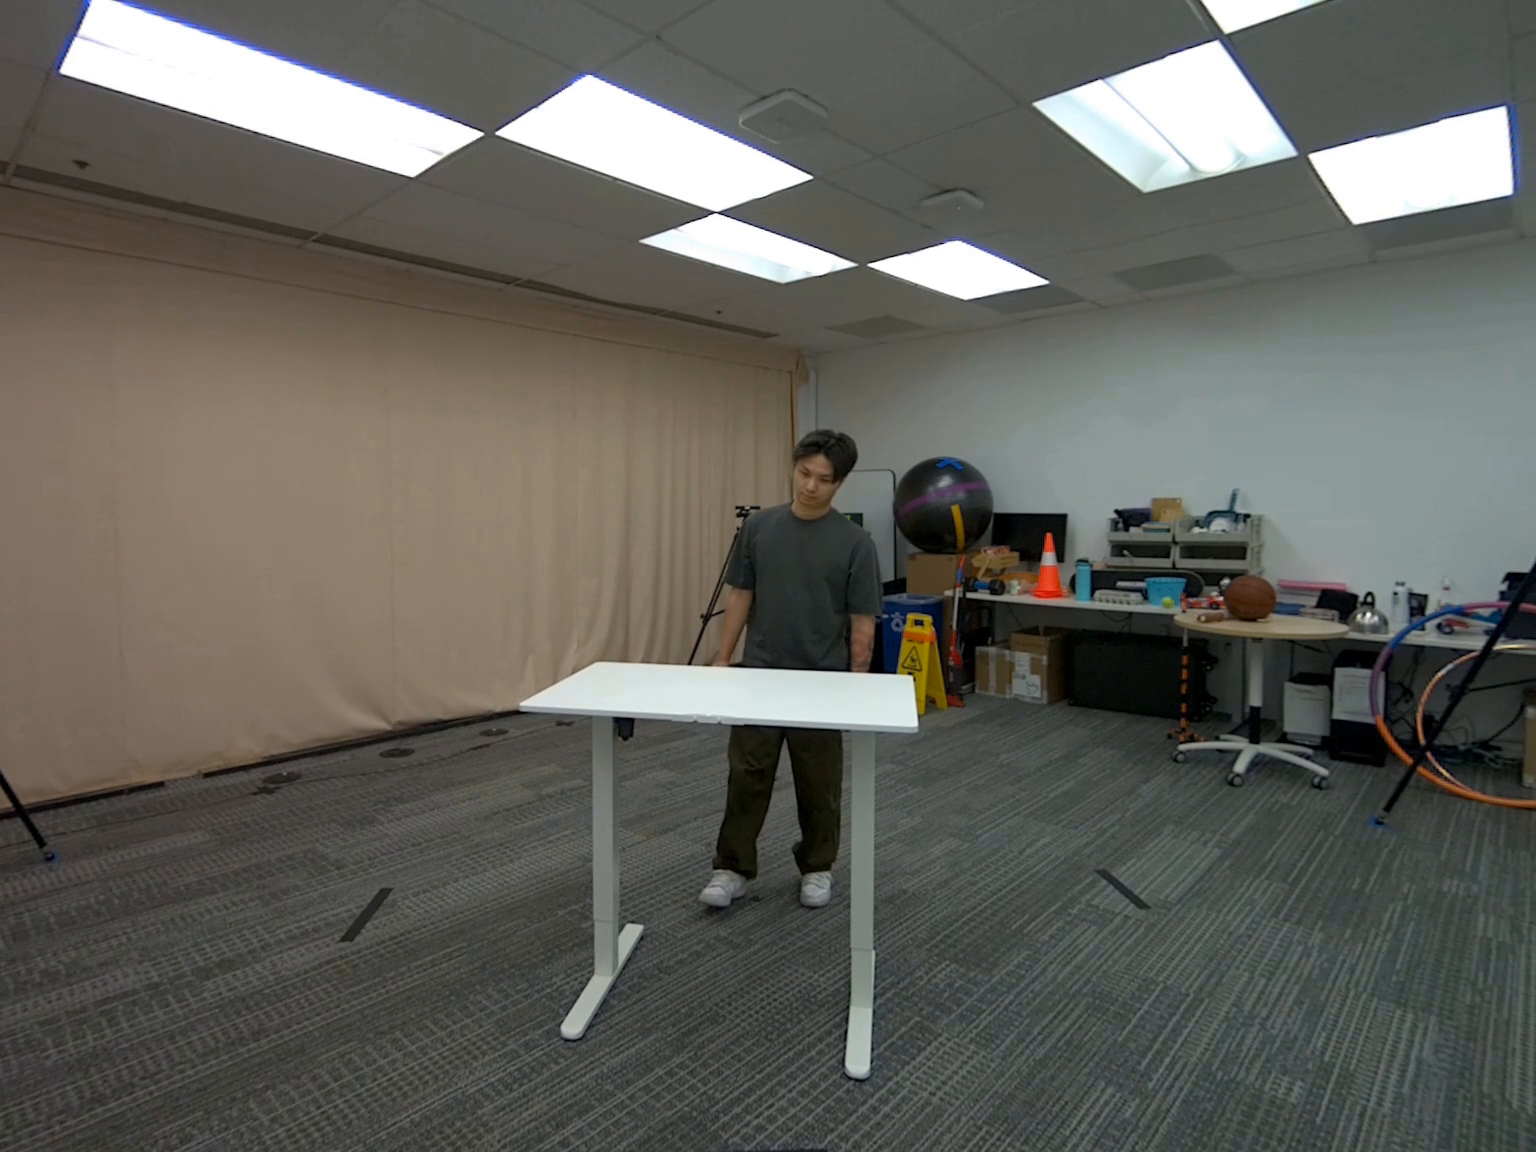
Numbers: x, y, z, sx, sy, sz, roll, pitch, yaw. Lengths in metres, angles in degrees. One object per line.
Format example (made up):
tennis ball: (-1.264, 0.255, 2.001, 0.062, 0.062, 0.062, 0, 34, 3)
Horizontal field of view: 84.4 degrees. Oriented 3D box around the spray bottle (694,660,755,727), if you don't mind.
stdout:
spray bottle: (-0.156, 0.430, 3.069, 0.090, 0.288, 0.090, -36, 48, -8)
